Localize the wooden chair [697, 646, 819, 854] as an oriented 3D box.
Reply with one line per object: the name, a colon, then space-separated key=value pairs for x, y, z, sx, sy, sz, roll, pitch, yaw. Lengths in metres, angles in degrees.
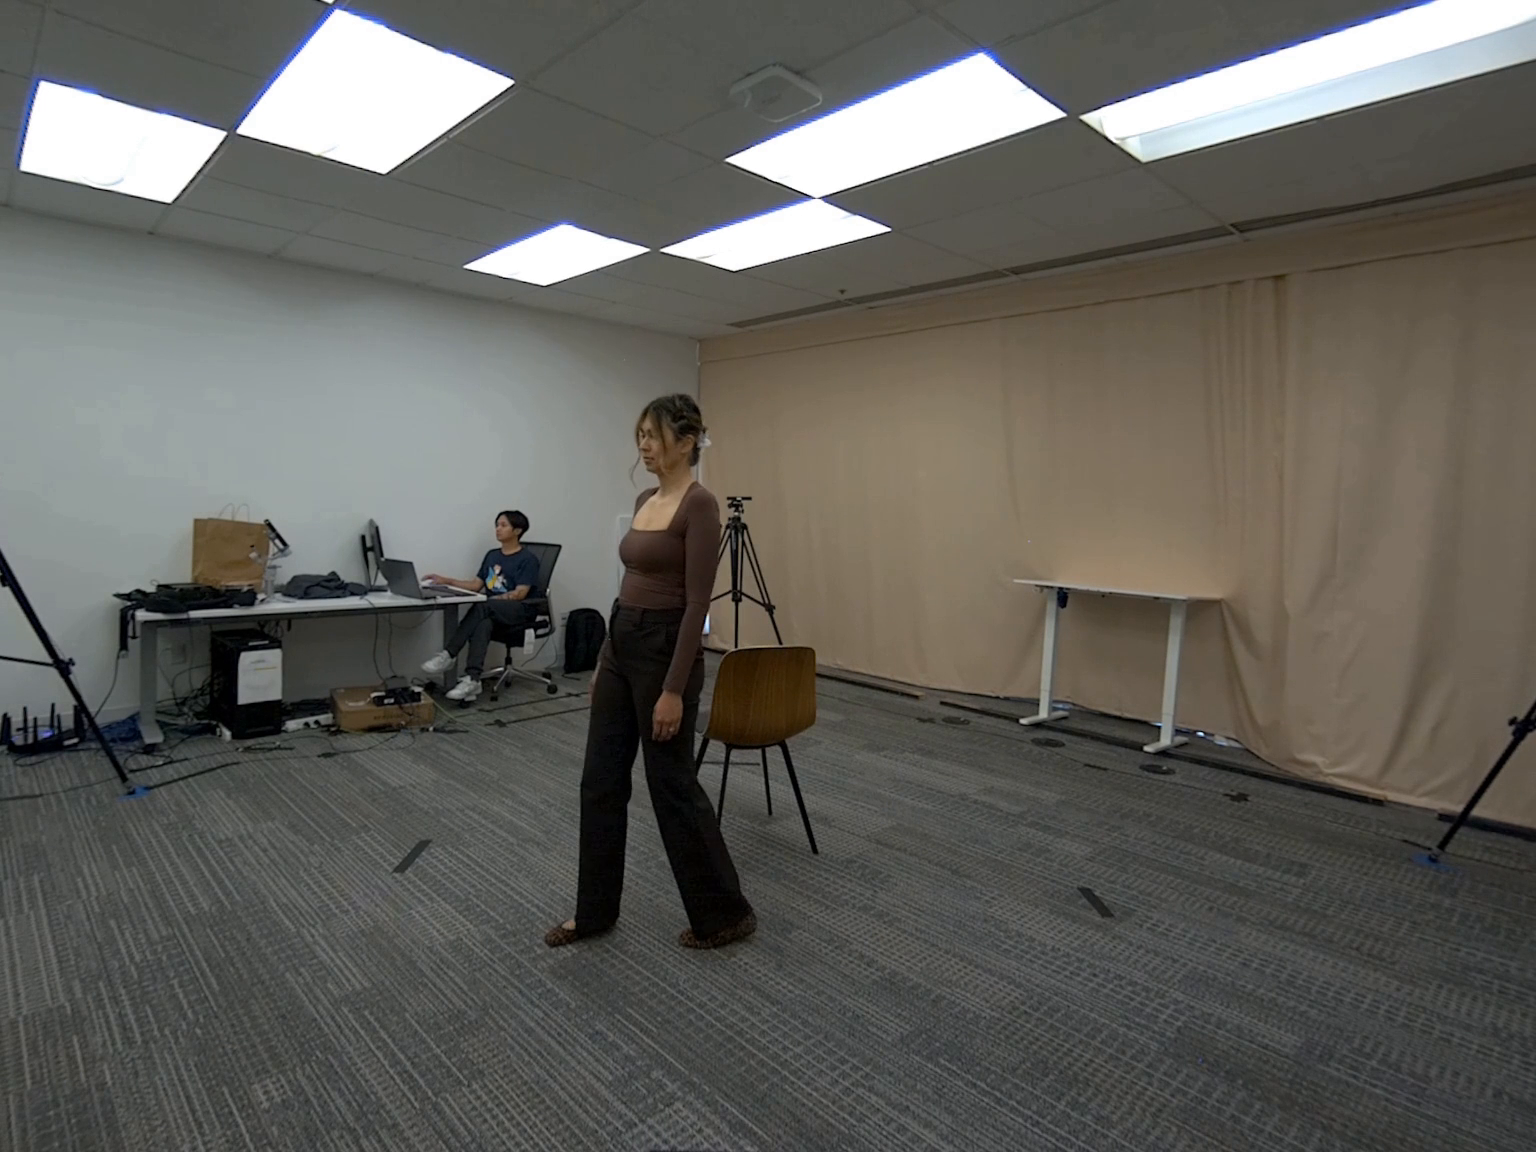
wooden chair: x=-0.095 y=0.655 z=3.421 sx=0.470 sy=0.873 sz=0.534 roll=0 pitch=7 yaw=-23
